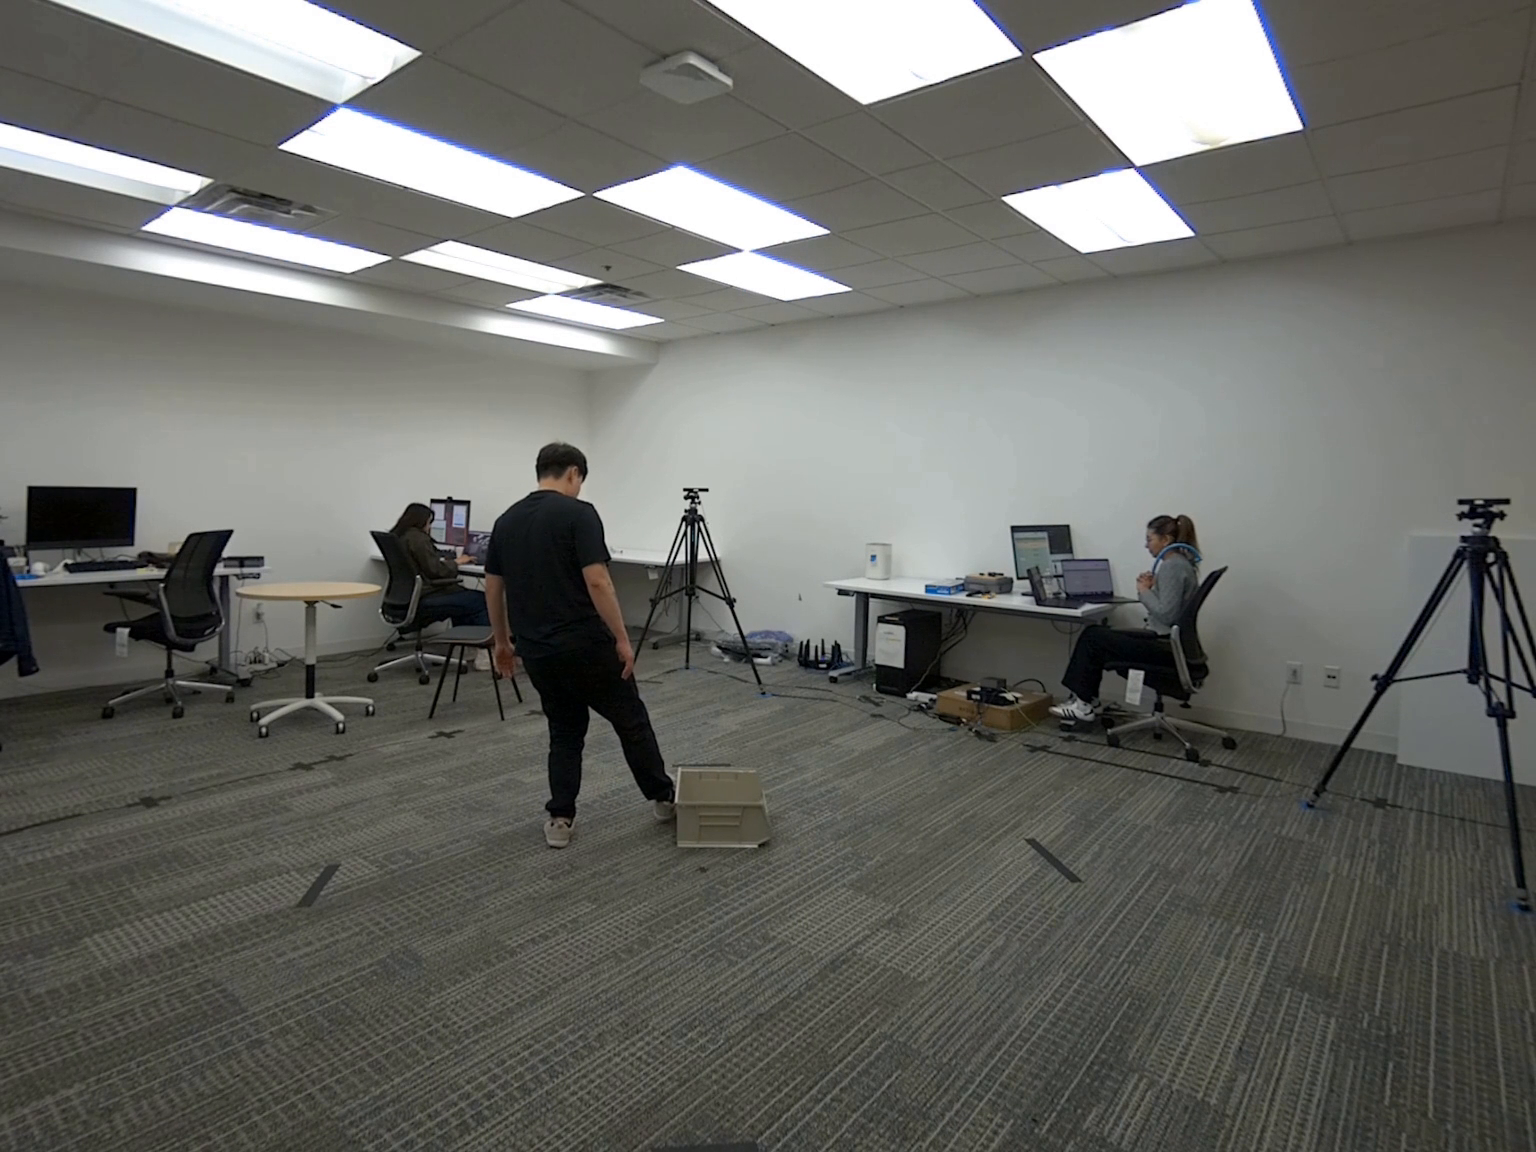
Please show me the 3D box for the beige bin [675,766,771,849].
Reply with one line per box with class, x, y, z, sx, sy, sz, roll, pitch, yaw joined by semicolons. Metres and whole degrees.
beige bin;-0.199;0.948;3.501;0.376;0.188;0.425;0;6;-3
